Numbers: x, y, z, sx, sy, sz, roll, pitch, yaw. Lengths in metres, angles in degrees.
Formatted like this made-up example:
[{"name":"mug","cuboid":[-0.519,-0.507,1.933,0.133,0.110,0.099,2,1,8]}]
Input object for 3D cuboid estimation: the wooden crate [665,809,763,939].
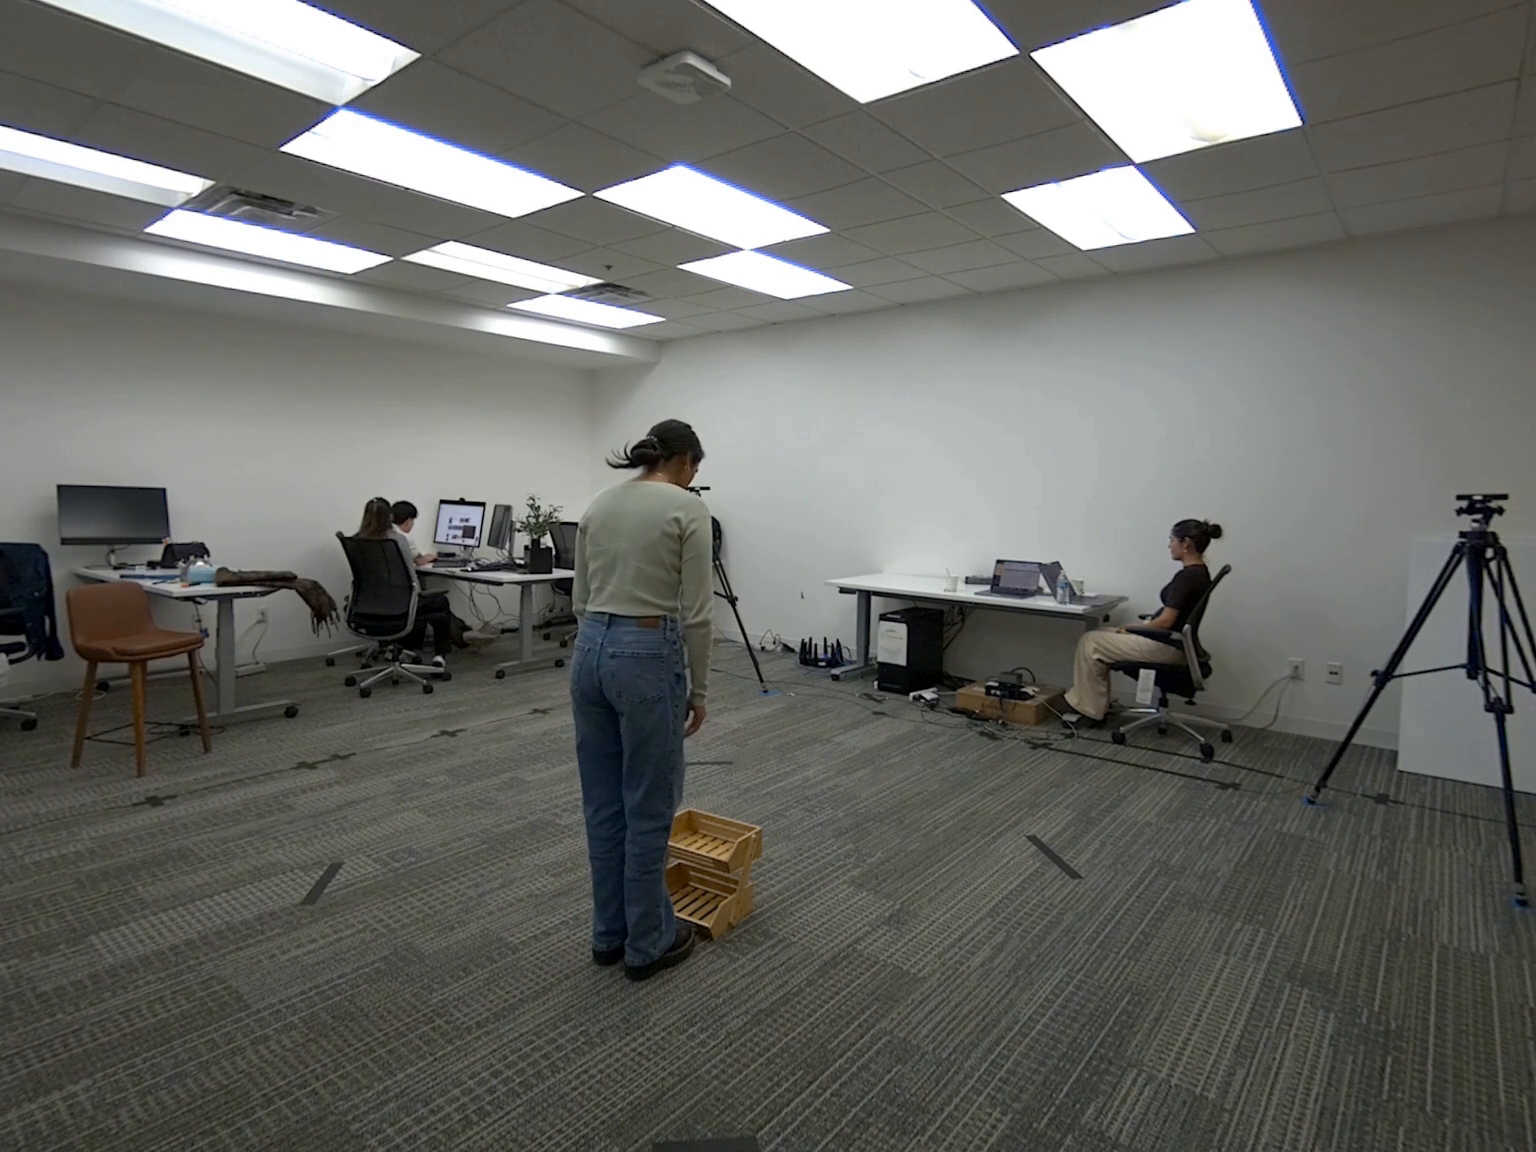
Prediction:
[{"name":"wooden crate","cuboid":[-0.234,0.962,2.793,0.334,0.273,0.294,3,4,32]}]
